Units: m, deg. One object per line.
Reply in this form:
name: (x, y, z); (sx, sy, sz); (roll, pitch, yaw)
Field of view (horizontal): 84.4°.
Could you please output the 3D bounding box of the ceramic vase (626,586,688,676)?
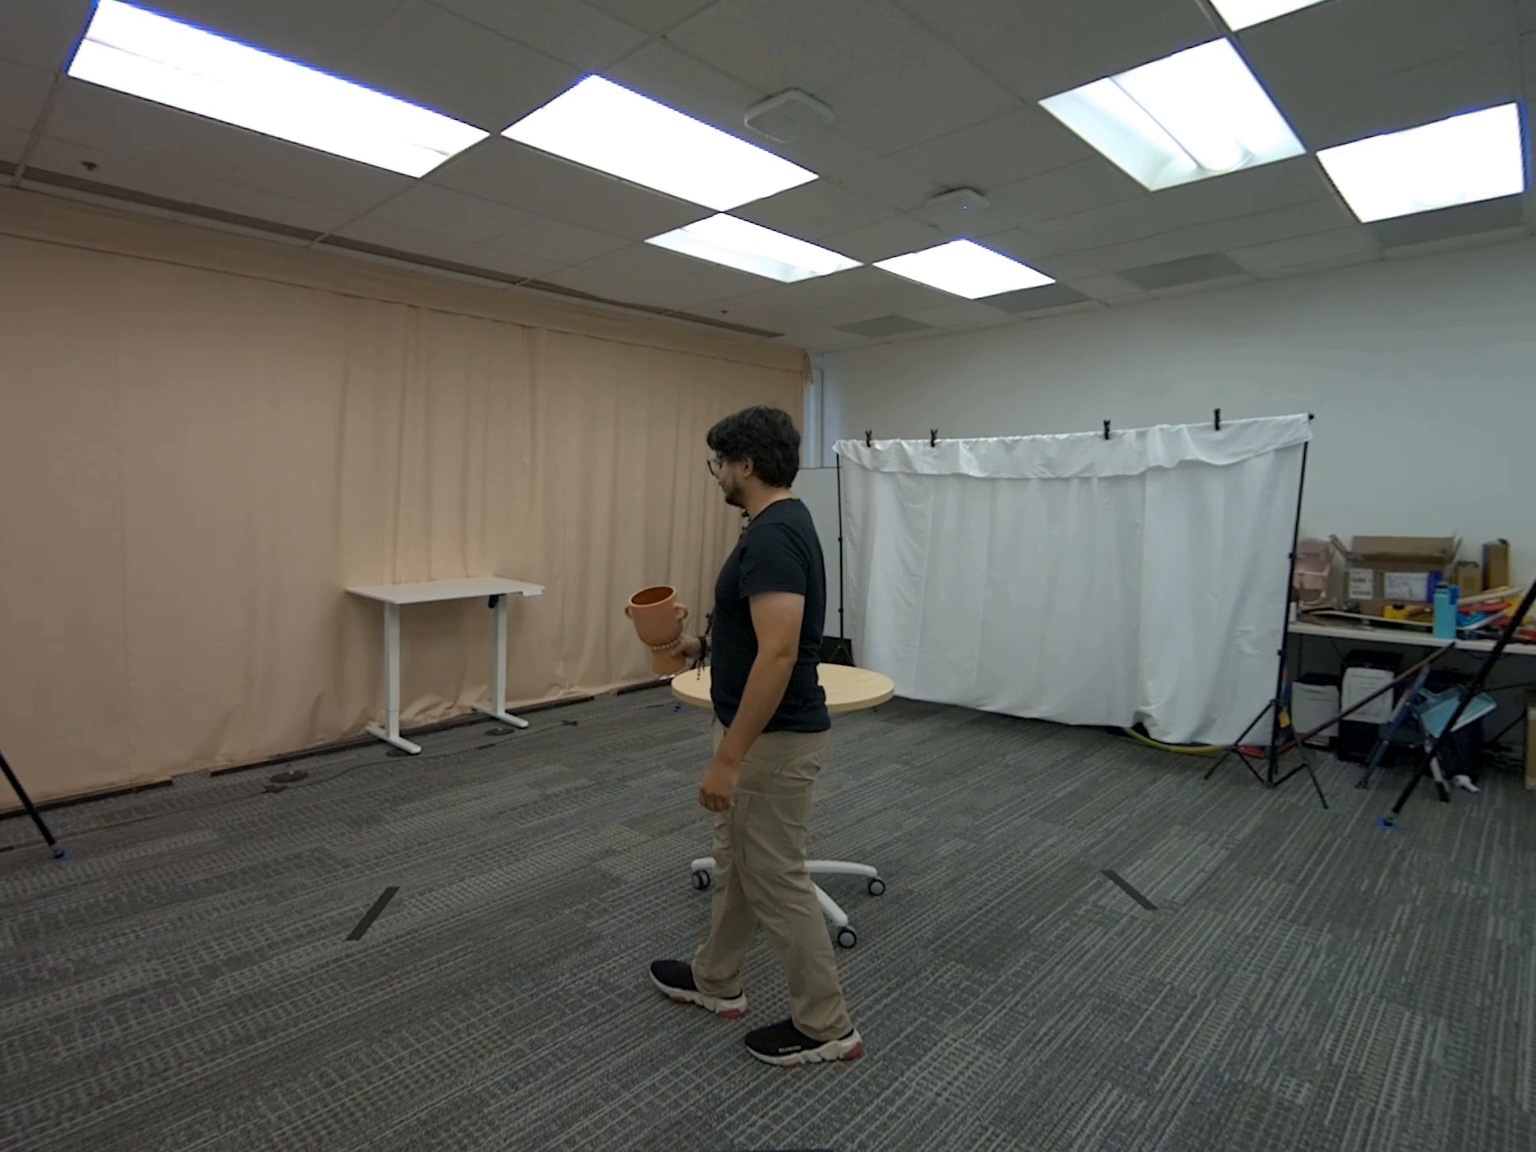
ceramic vase: (-0.290, 0.152, 2.325); (0.132, 0.216, 0.164); (-21, 22, -21)
